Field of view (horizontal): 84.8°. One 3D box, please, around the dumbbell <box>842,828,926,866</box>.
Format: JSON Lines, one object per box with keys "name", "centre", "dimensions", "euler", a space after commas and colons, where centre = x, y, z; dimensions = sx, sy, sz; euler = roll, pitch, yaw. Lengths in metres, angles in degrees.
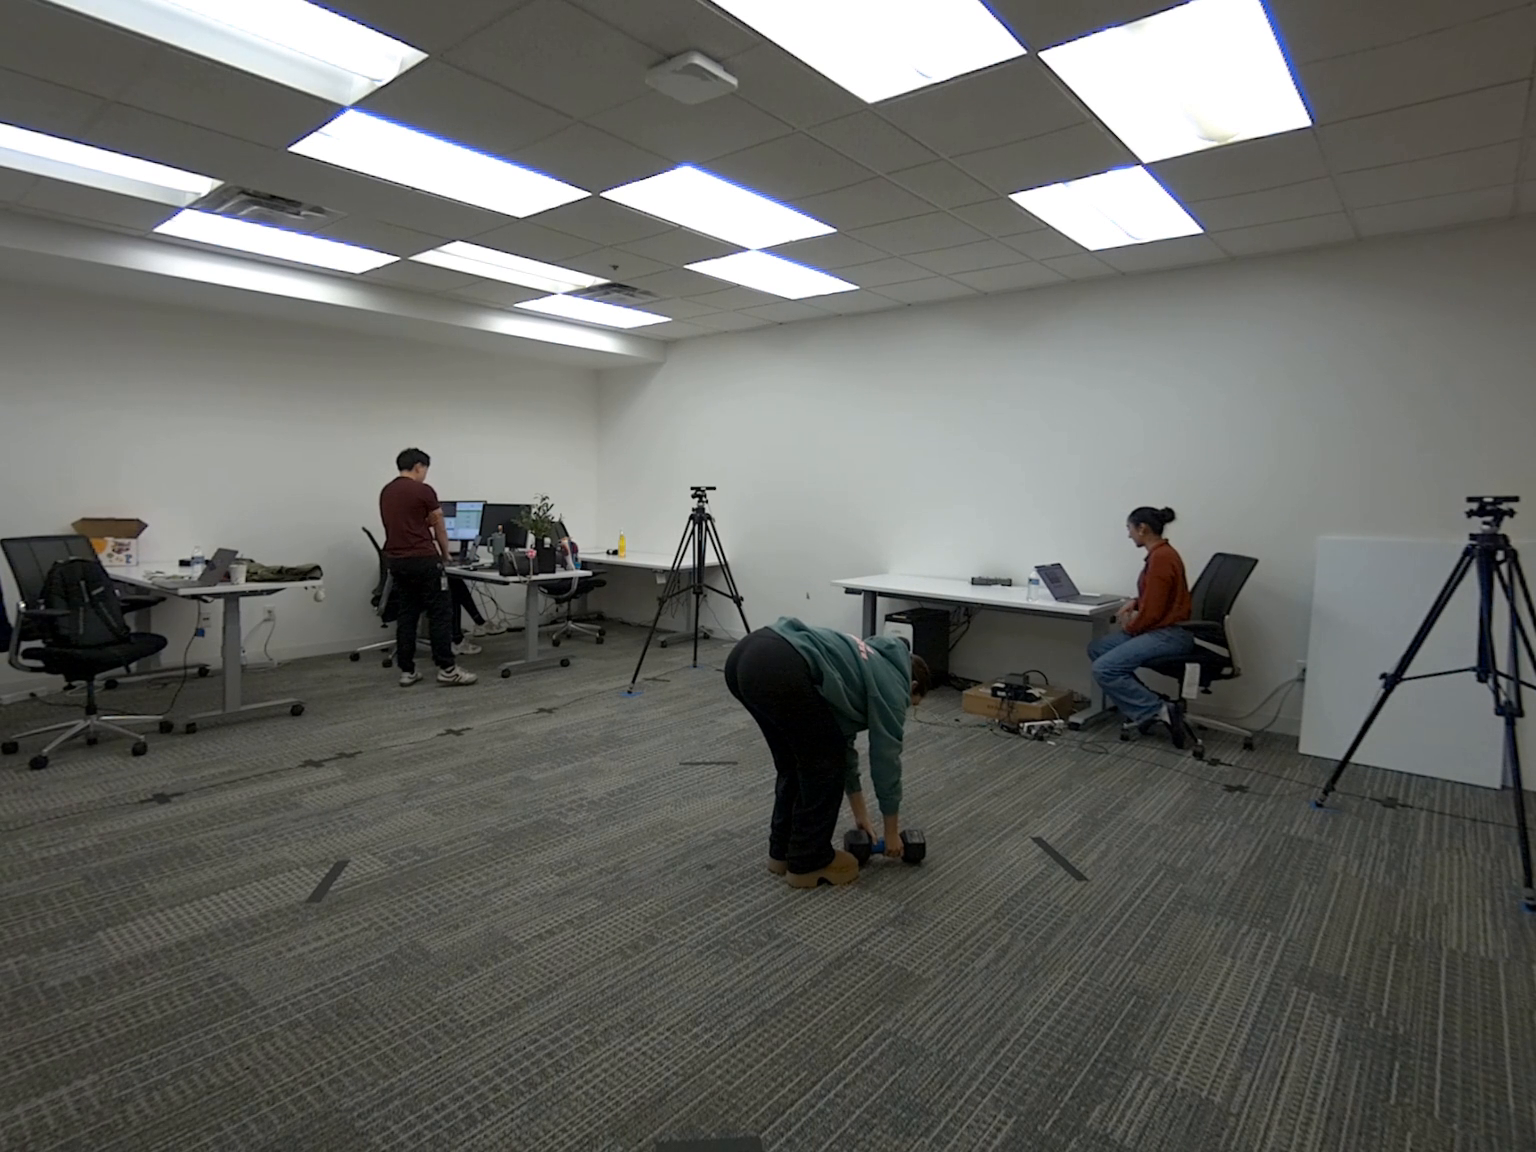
{"name": "dumbbell", "centre": [0.437, 1.023, 3.203], "dimensions": [0.291, 0.123, 0.109], "euler": [-1, 1, -8]}
